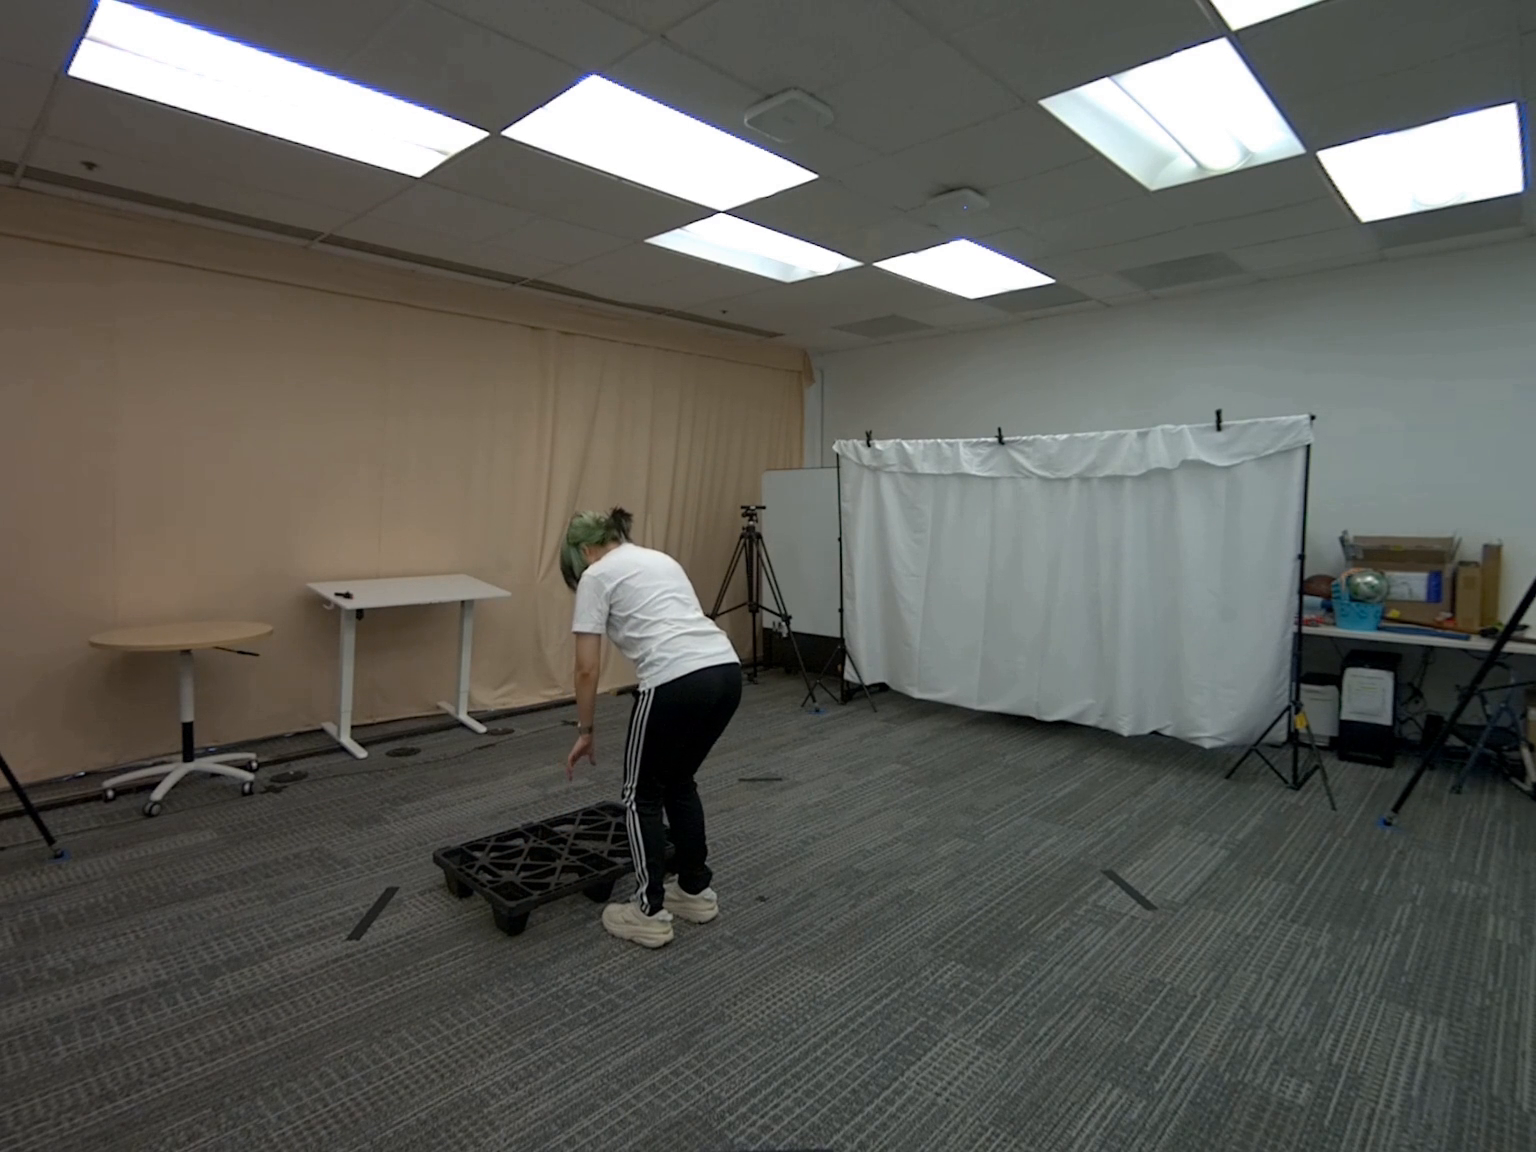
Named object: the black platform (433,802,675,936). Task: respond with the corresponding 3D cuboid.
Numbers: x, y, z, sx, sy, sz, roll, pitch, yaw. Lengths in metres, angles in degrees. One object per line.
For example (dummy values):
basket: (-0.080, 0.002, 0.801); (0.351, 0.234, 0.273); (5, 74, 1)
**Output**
black platform: (-0.739, 1.074, 3.141); (0.781, 0.143, 0.625); (-5, 7, -44)
